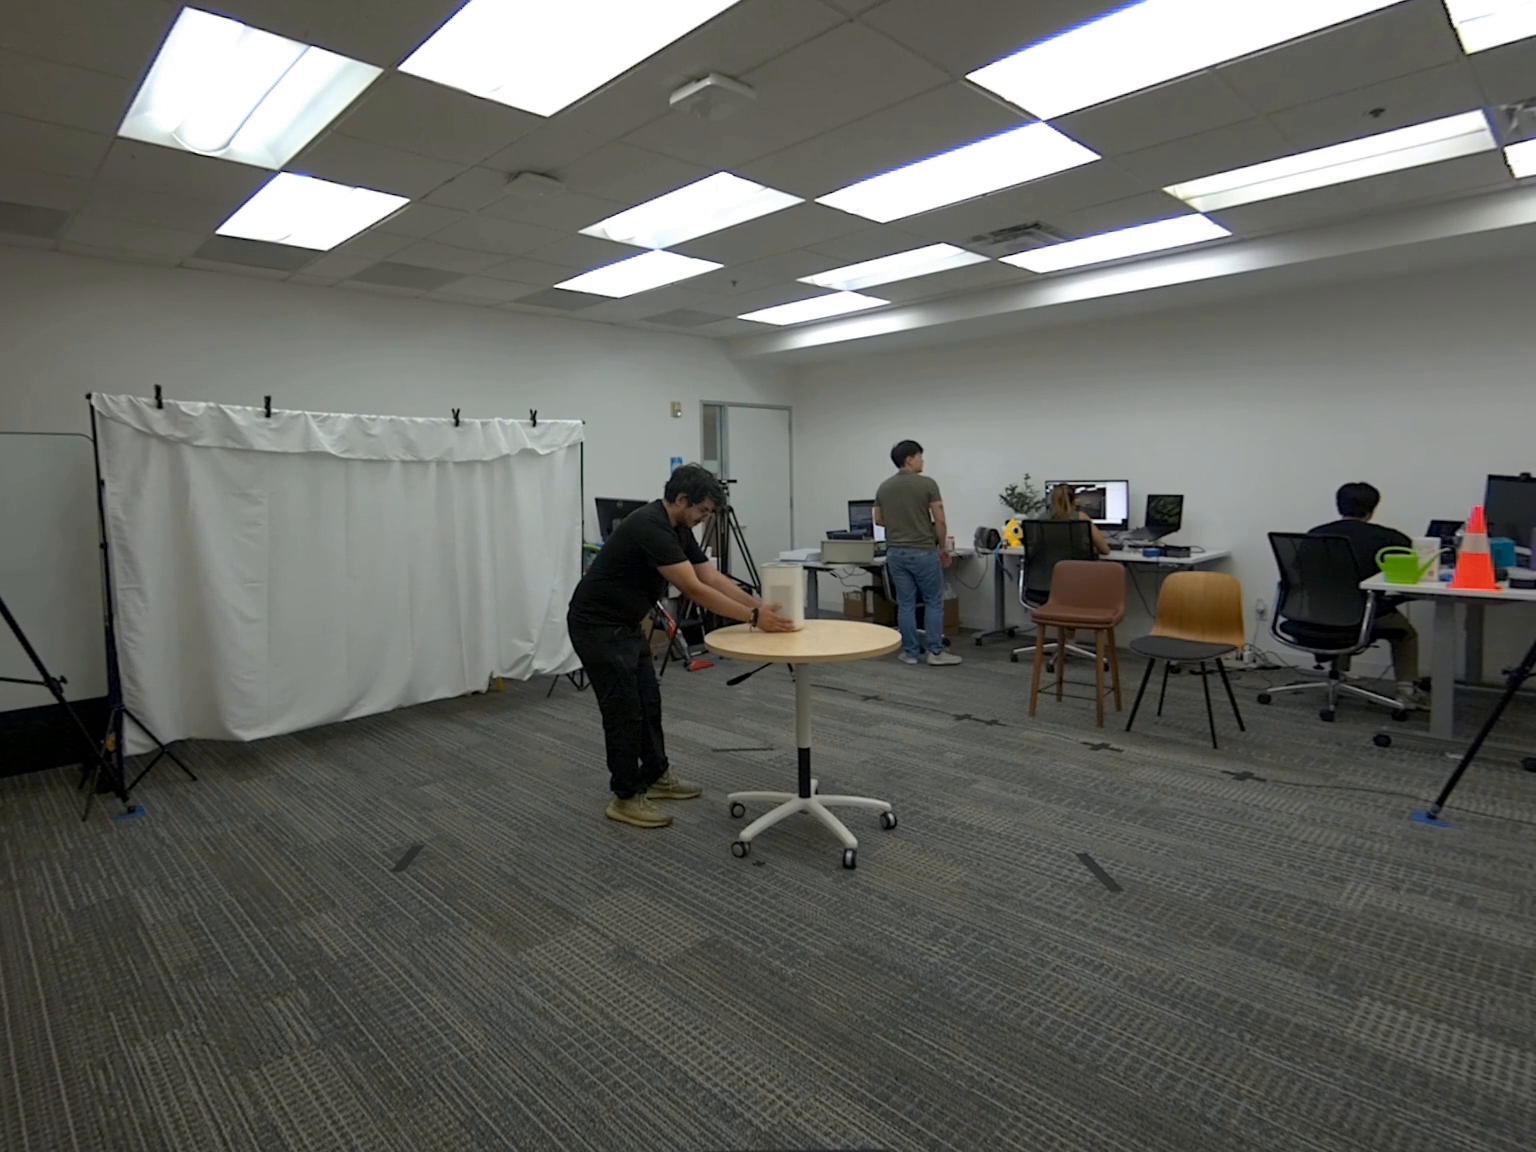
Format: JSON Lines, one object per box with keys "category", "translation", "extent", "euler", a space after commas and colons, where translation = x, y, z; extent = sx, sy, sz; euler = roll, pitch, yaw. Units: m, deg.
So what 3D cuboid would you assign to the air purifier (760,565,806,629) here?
{"category": "air purifier", "translation": [0.057, 0.083, 3.501], "extent": [0.173, 0.264, 0.170], "euler": [0, 4, 7]}
